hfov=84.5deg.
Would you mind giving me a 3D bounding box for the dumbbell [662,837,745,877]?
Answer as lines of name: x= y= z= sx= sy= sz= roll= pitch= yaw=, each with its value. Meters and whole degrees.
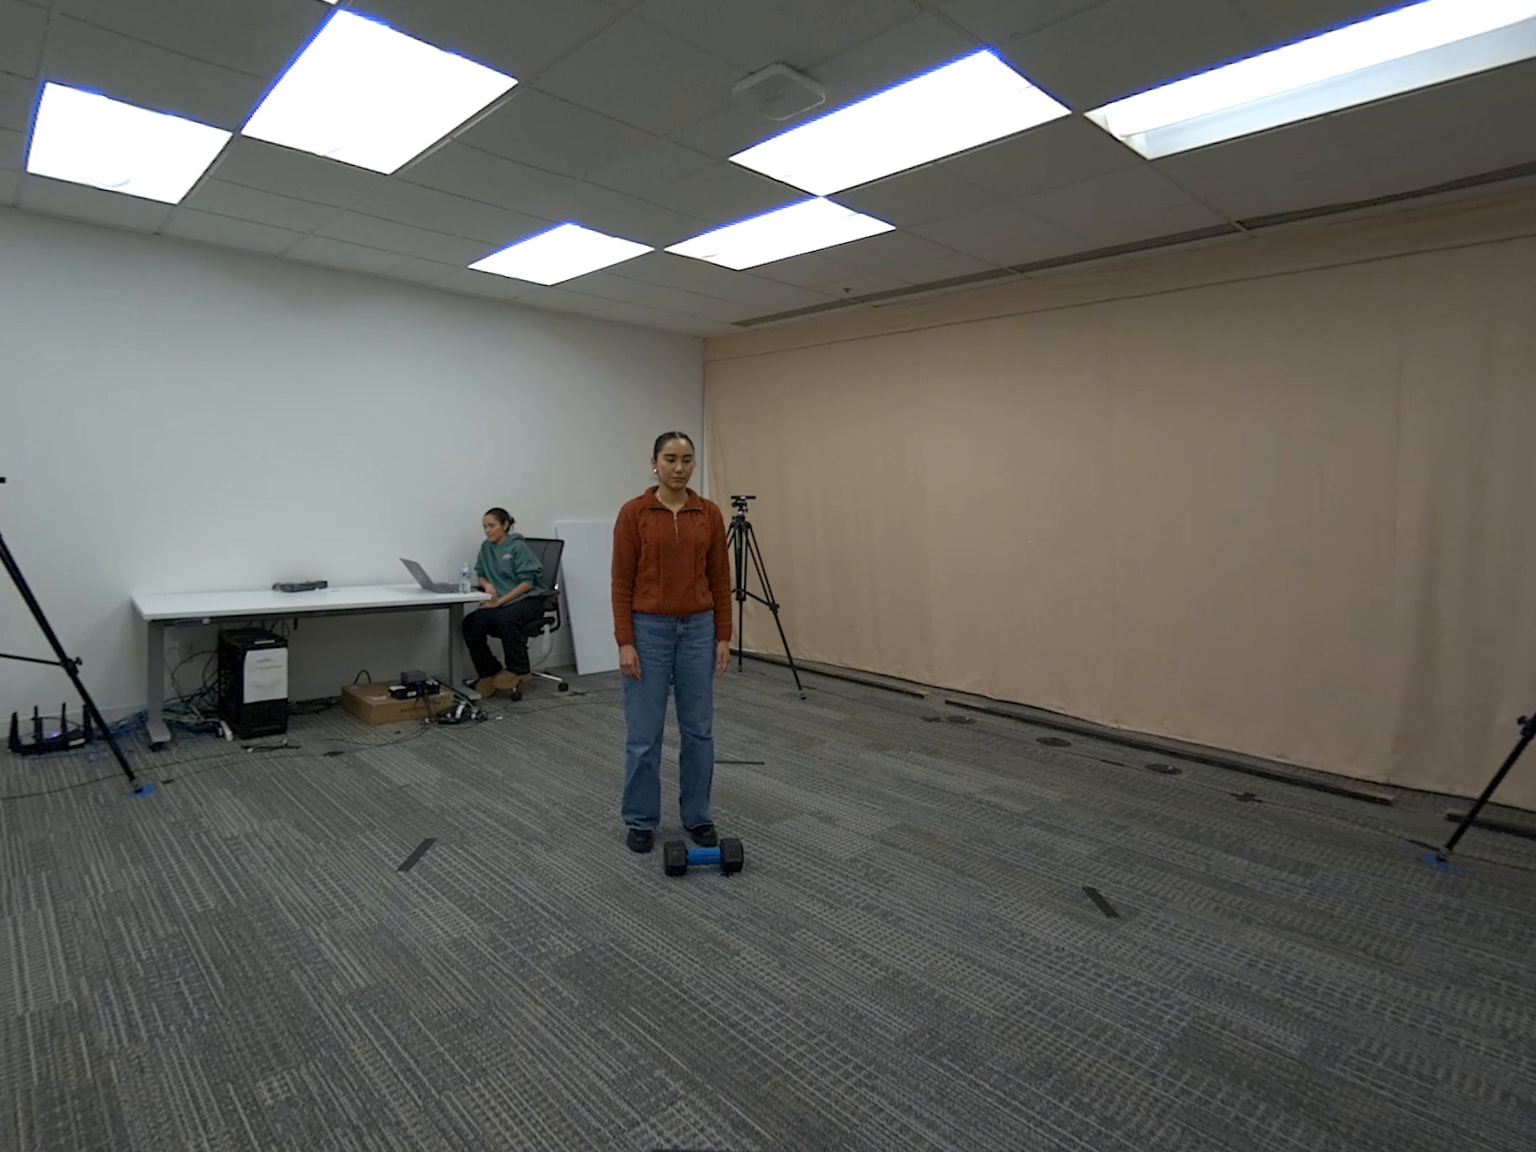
dumbbell: x=-0.246 y=1.043 z=3.125 sx=0.291 sy=0.125 sz=0.107 roll=0 pitch=-26 yaw=-11
